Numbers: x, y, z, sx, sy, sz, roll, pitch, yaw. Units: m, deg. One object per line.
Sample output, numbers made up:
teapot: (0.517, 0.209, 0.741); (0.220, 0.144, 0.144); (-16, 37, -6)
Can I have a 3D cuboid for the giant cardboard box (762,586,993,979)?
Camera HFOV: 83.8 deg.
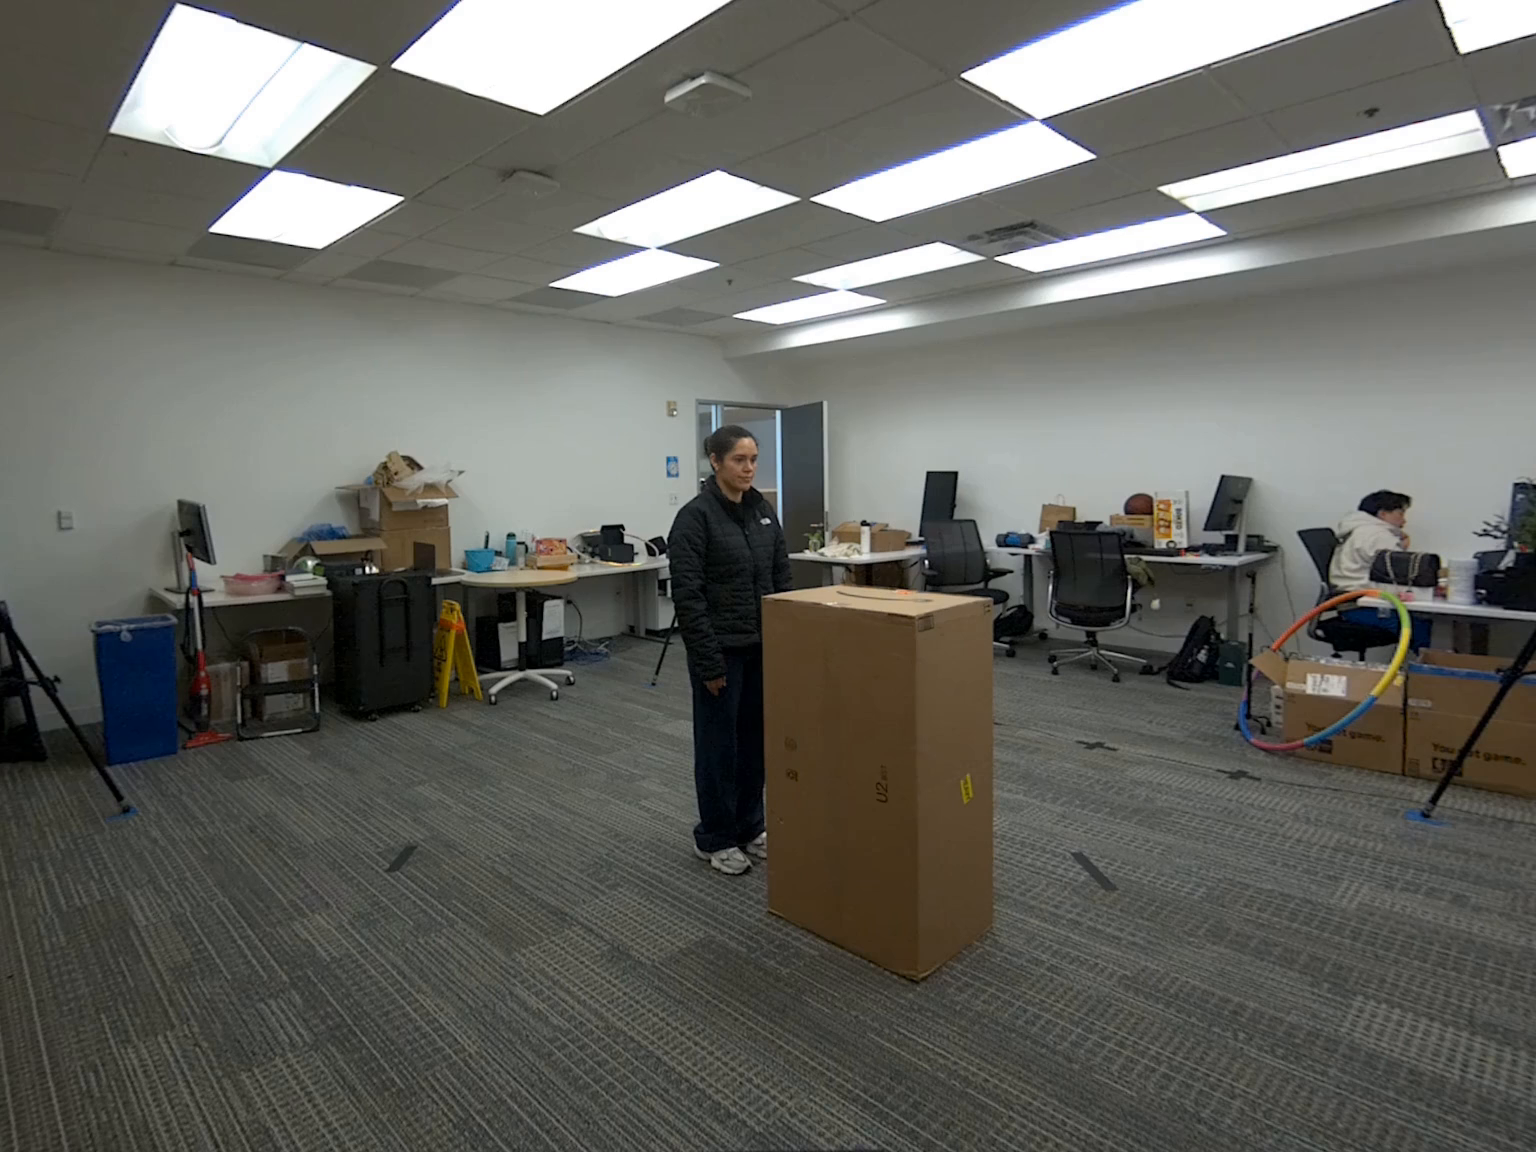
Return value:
giant cardboard box: (0.346, 0.579, 2.679); (0.595, 1.022, 0.415); (3, 5, 45)
